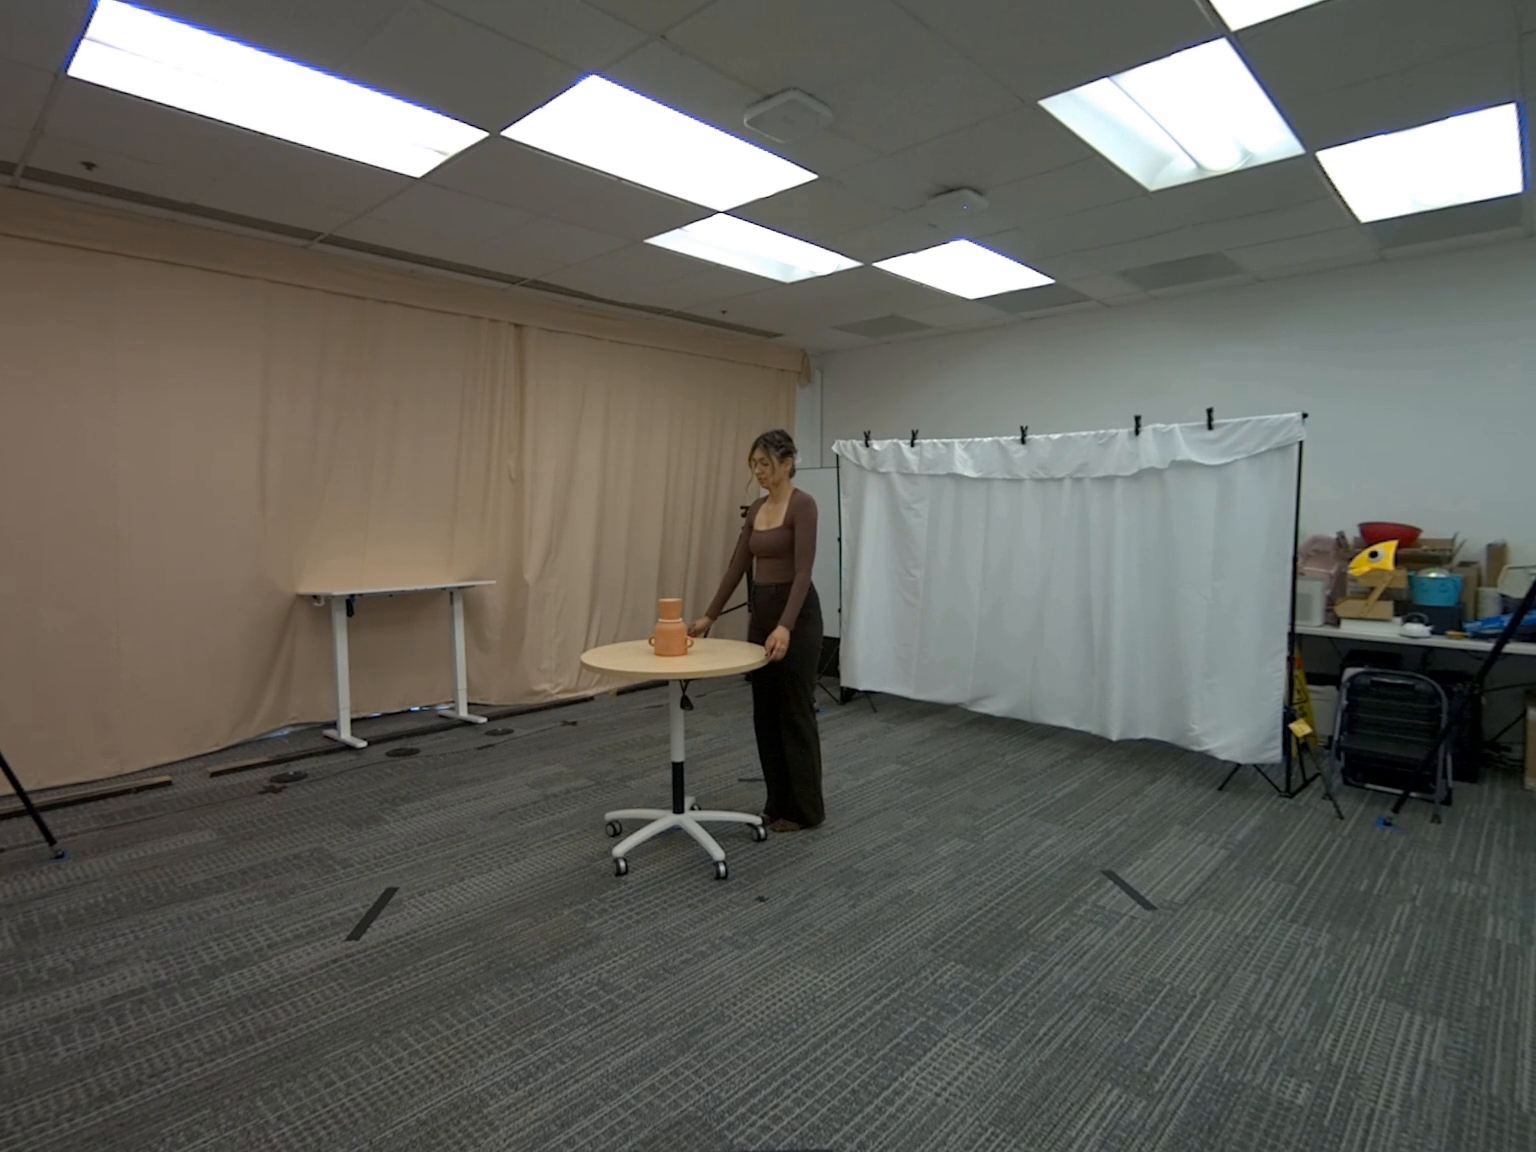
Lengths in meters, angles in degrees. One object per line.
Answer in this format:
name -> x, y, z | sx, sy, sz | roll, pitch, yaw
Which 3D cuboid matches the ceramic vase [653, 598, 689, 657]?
ceramic vase -> -0.399, 0.206, 3.402 | 0.155, 0.219, 0.137 | -2, 3, -21
